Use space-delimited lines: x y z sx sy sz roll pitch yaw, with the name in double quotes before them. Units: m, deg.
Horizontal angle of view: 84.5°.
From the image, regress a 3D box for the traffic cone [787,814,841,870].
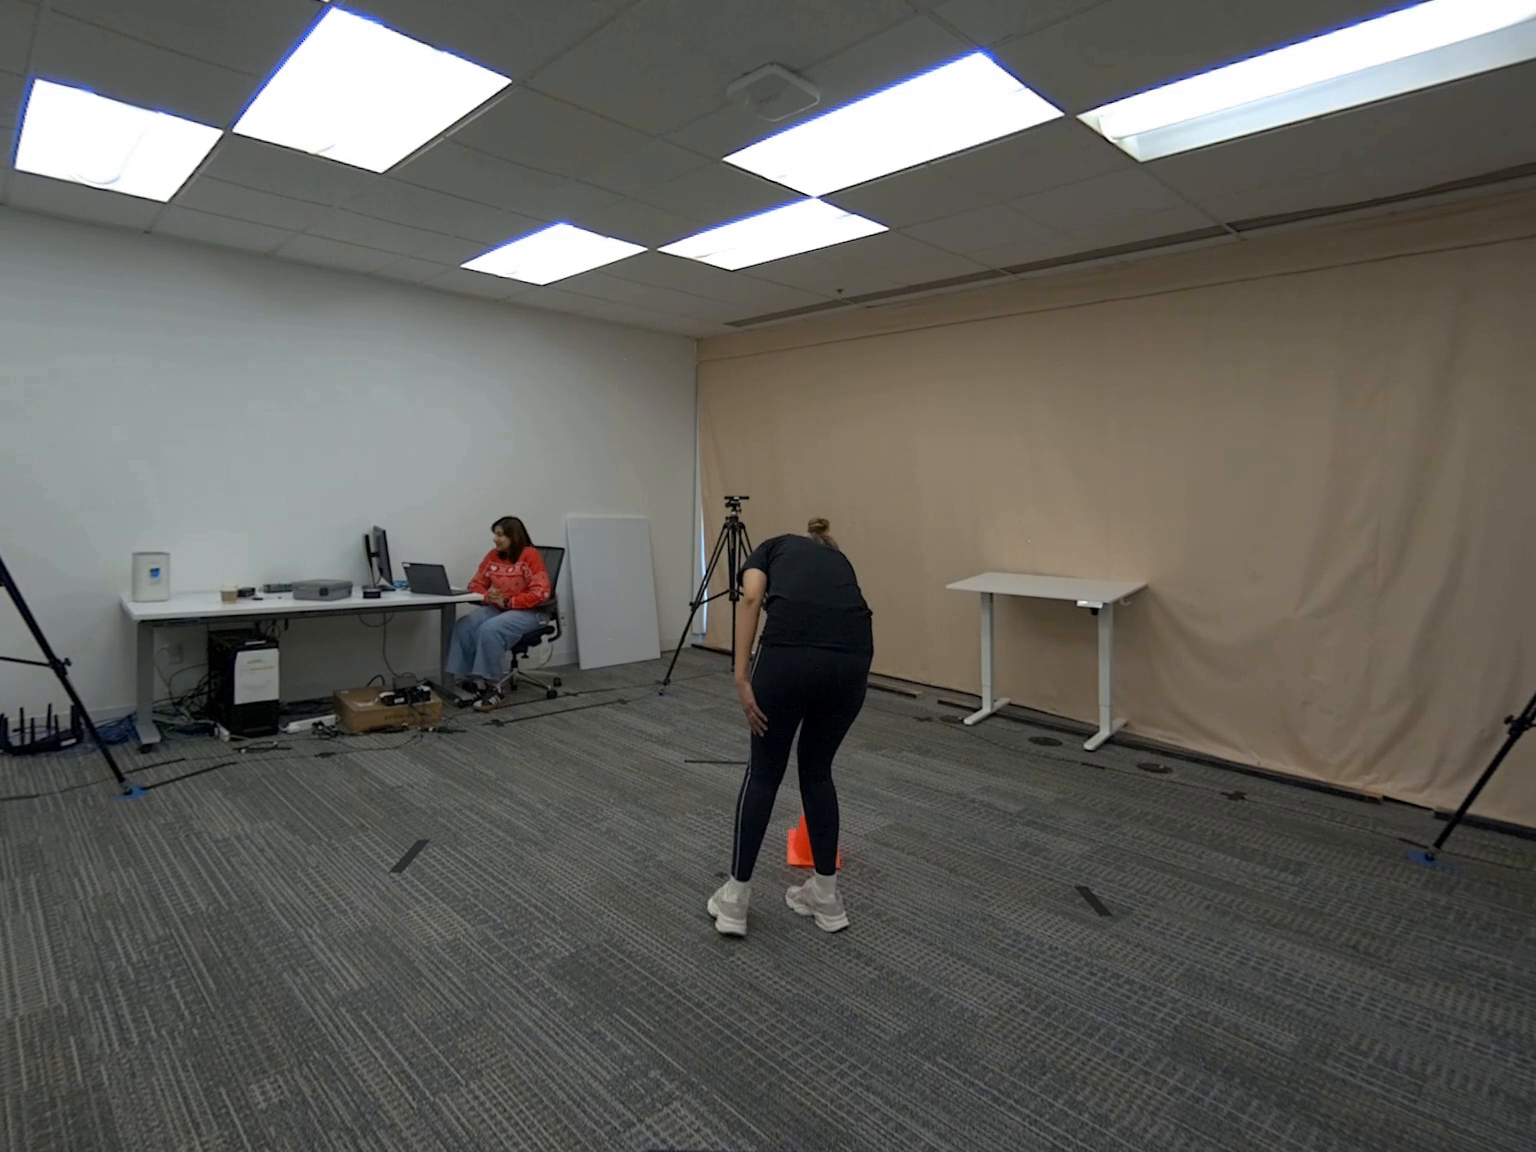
"traffic cone" 0.180 0.890 3.181 0.203 0.378 0.207 1 19 1
